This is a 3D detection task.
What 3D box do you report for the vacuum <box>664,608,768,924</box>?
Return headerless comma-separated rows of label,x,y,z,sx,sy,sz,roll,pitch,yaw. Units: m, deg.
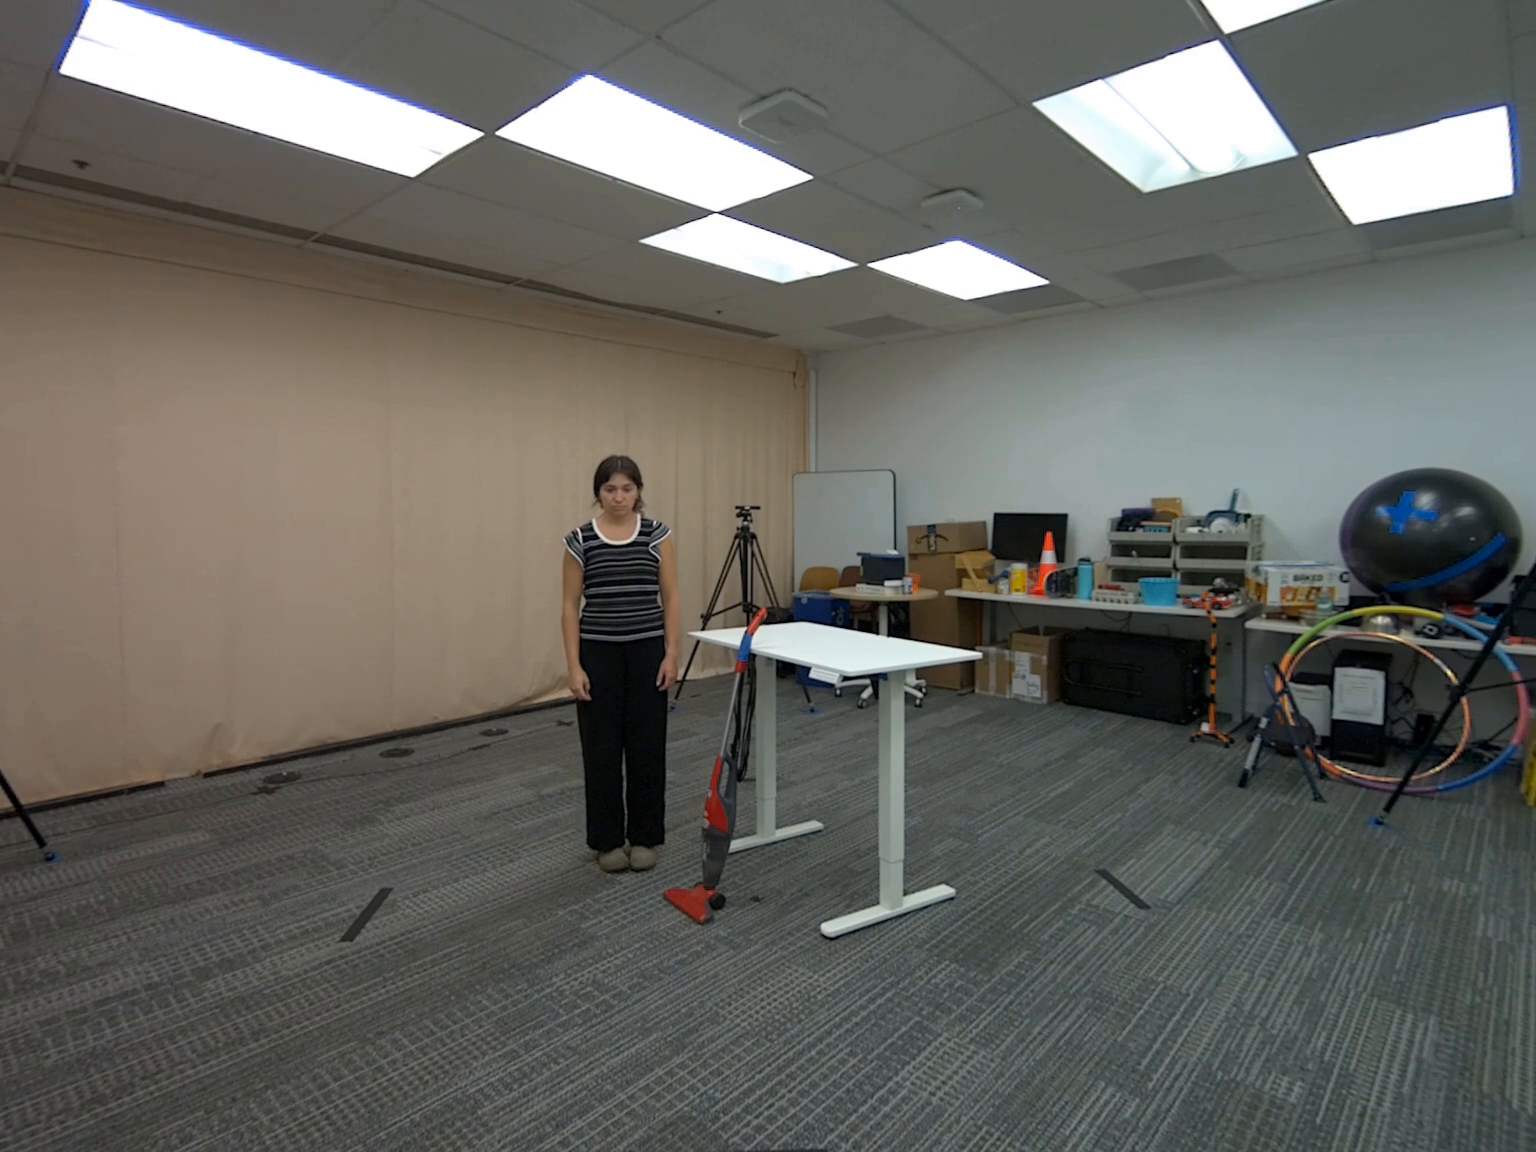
vacuum,-0.131,0.643,2.988,0.139,1.051,0.261,17,-7,-37
